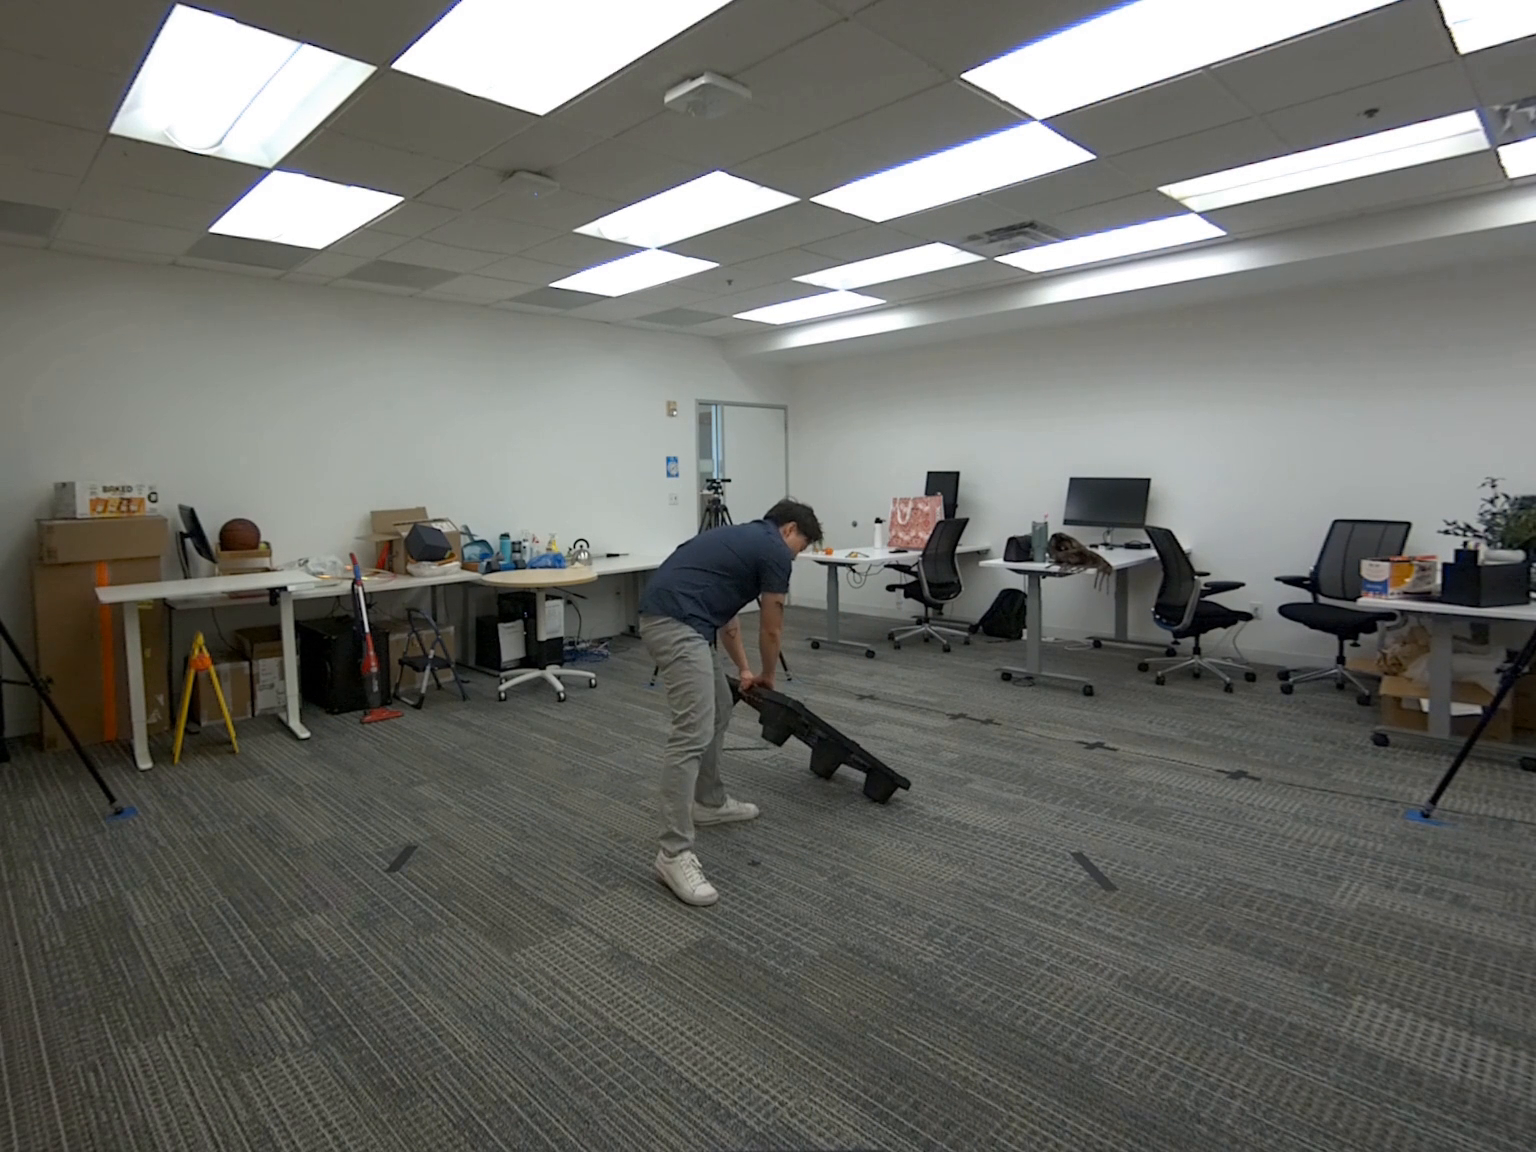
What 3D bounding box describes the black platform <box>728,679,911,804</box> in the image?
[{"bbox_3d":[0.150,0.701,3.697,0.779,0.144,0.623,40,-18,-29],"label":"black platform"}]
